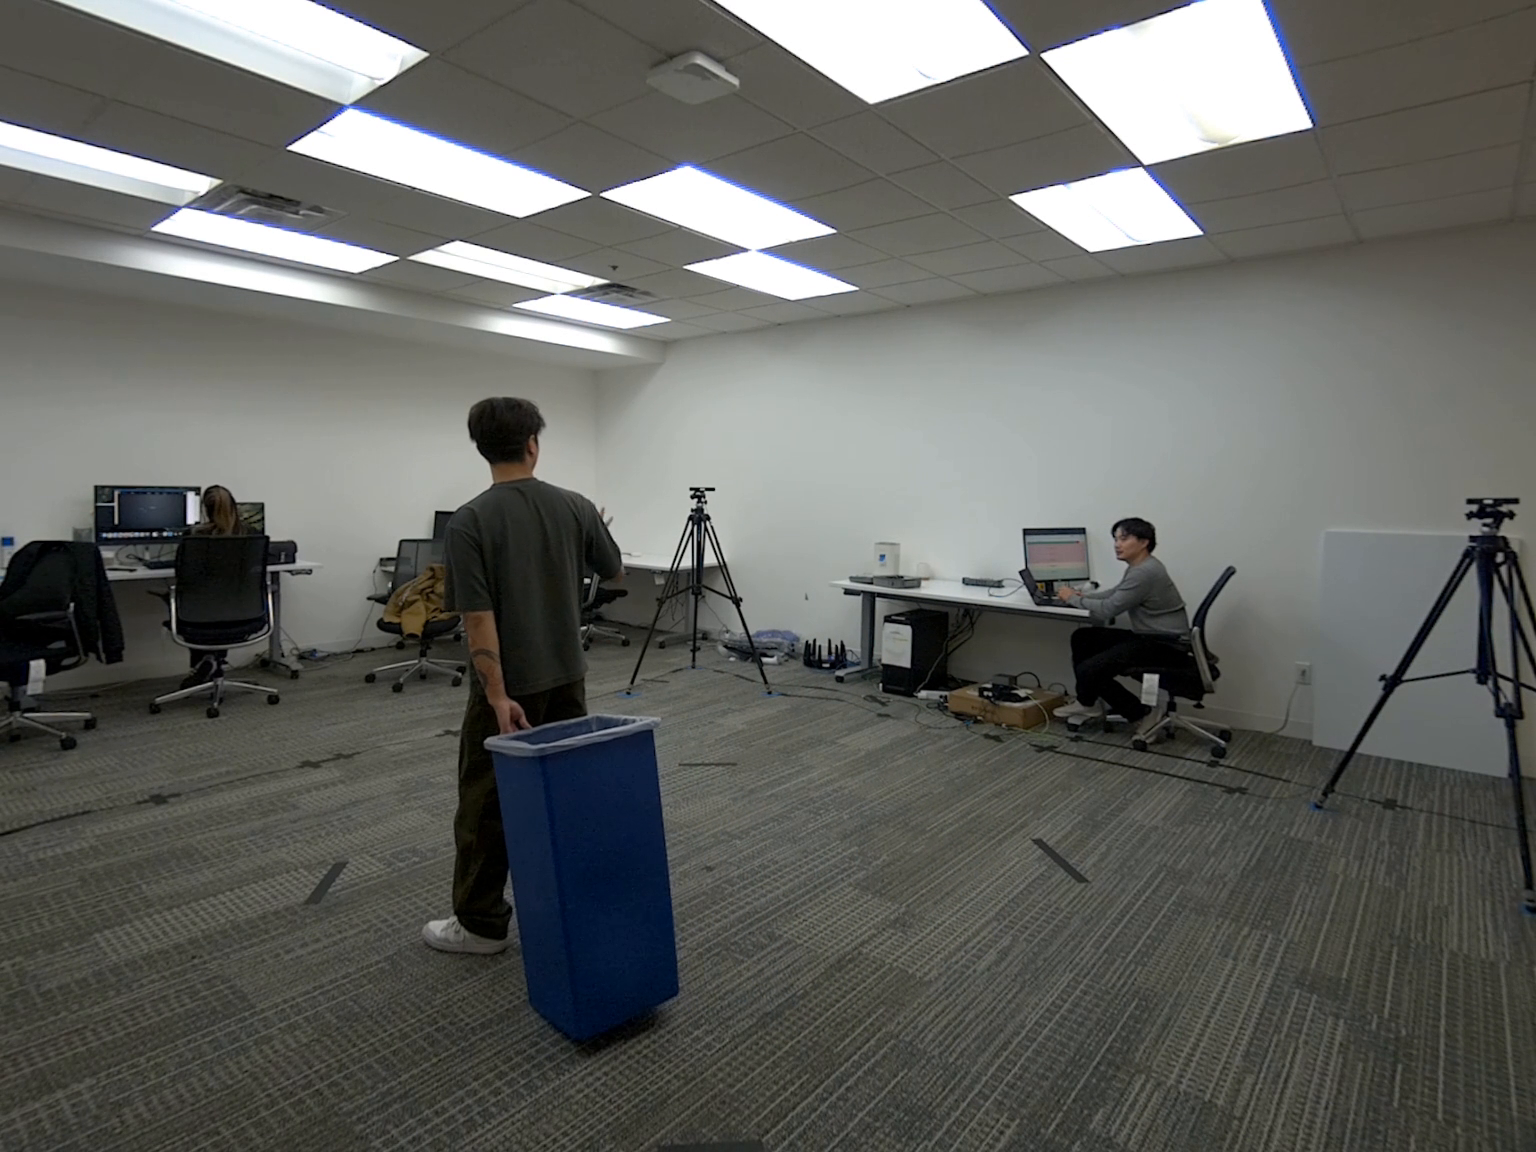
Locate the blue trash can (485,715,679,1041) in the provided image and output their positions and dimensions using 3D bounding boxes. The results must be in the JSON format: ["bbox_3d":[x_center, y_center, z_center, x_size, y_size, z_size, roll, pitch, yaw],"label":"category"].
[{"bbox_3d":[-0.495,0.764,2.273,0.363,0.717,0.387,-4,-6,-39],"label":"blue trash can"}]
